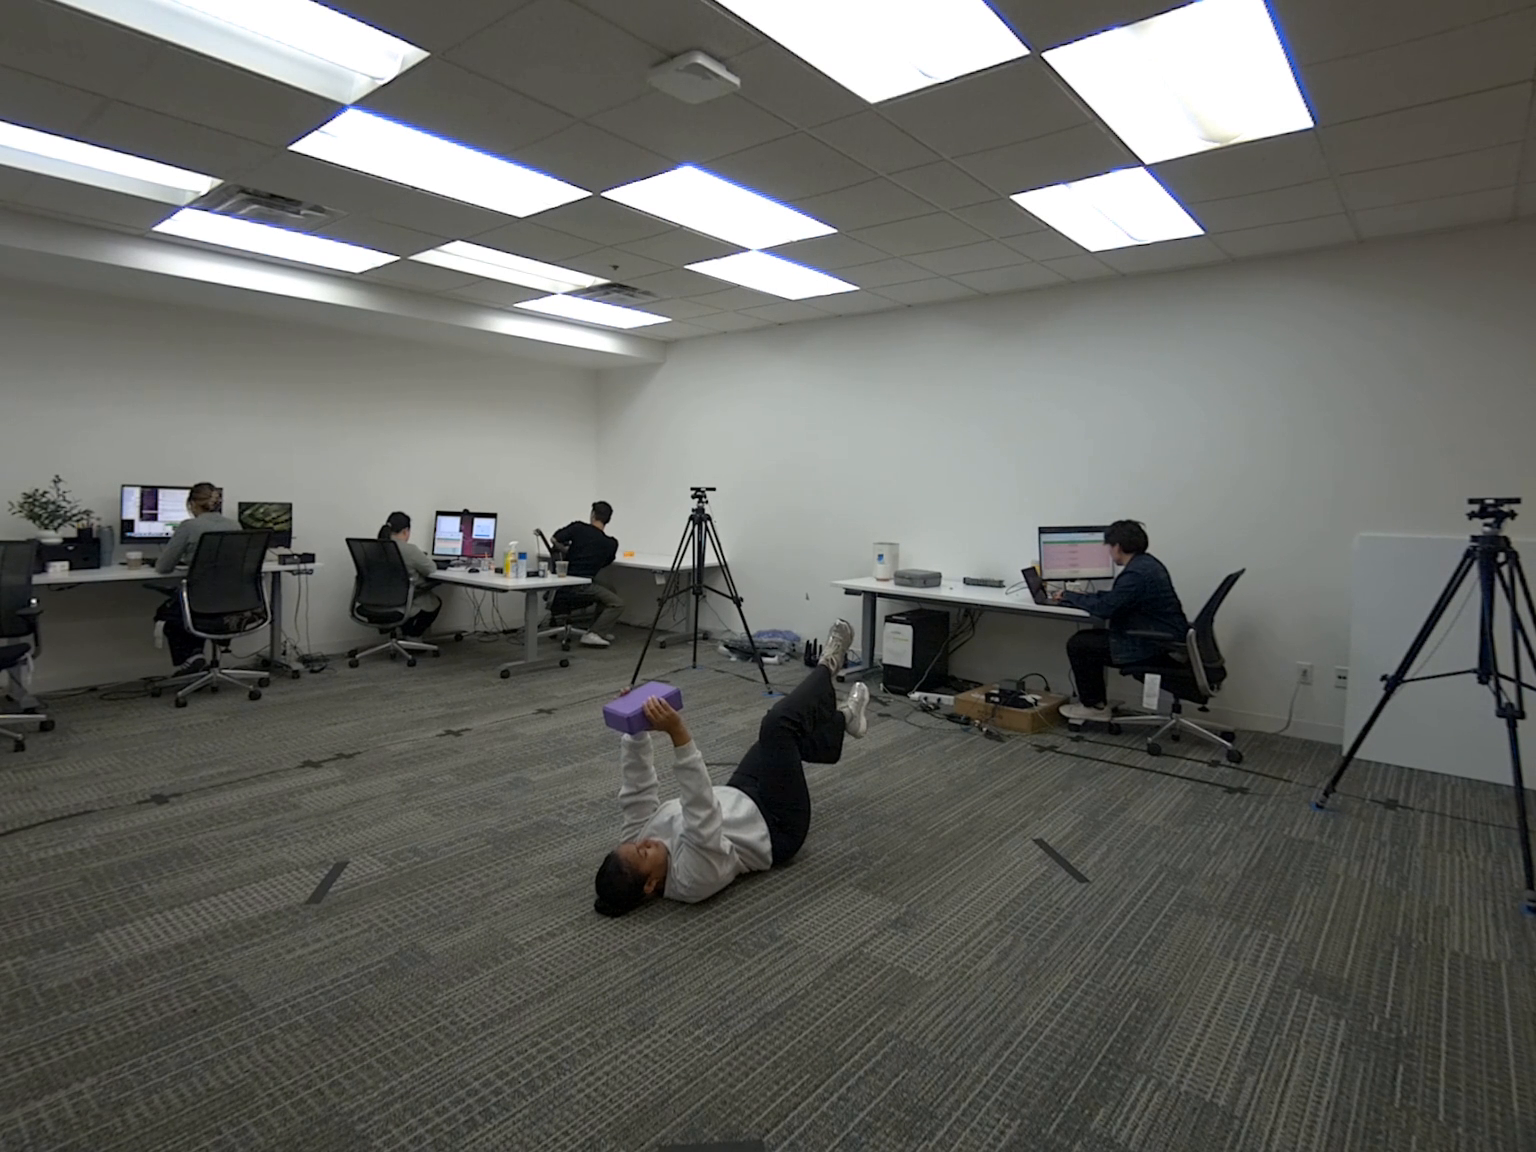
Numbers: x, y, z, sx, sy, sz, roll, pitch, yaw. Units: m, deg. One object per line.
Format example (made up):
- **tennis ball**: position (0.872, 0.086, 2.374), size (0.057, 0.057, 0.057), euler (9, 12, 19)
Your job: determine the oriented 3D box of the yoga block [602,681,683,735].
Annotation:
- **yoga block**: position (-0.433, 0.436, 2.812), size (0.154, 0.075, 0.225), euler (5, 21, 45)
